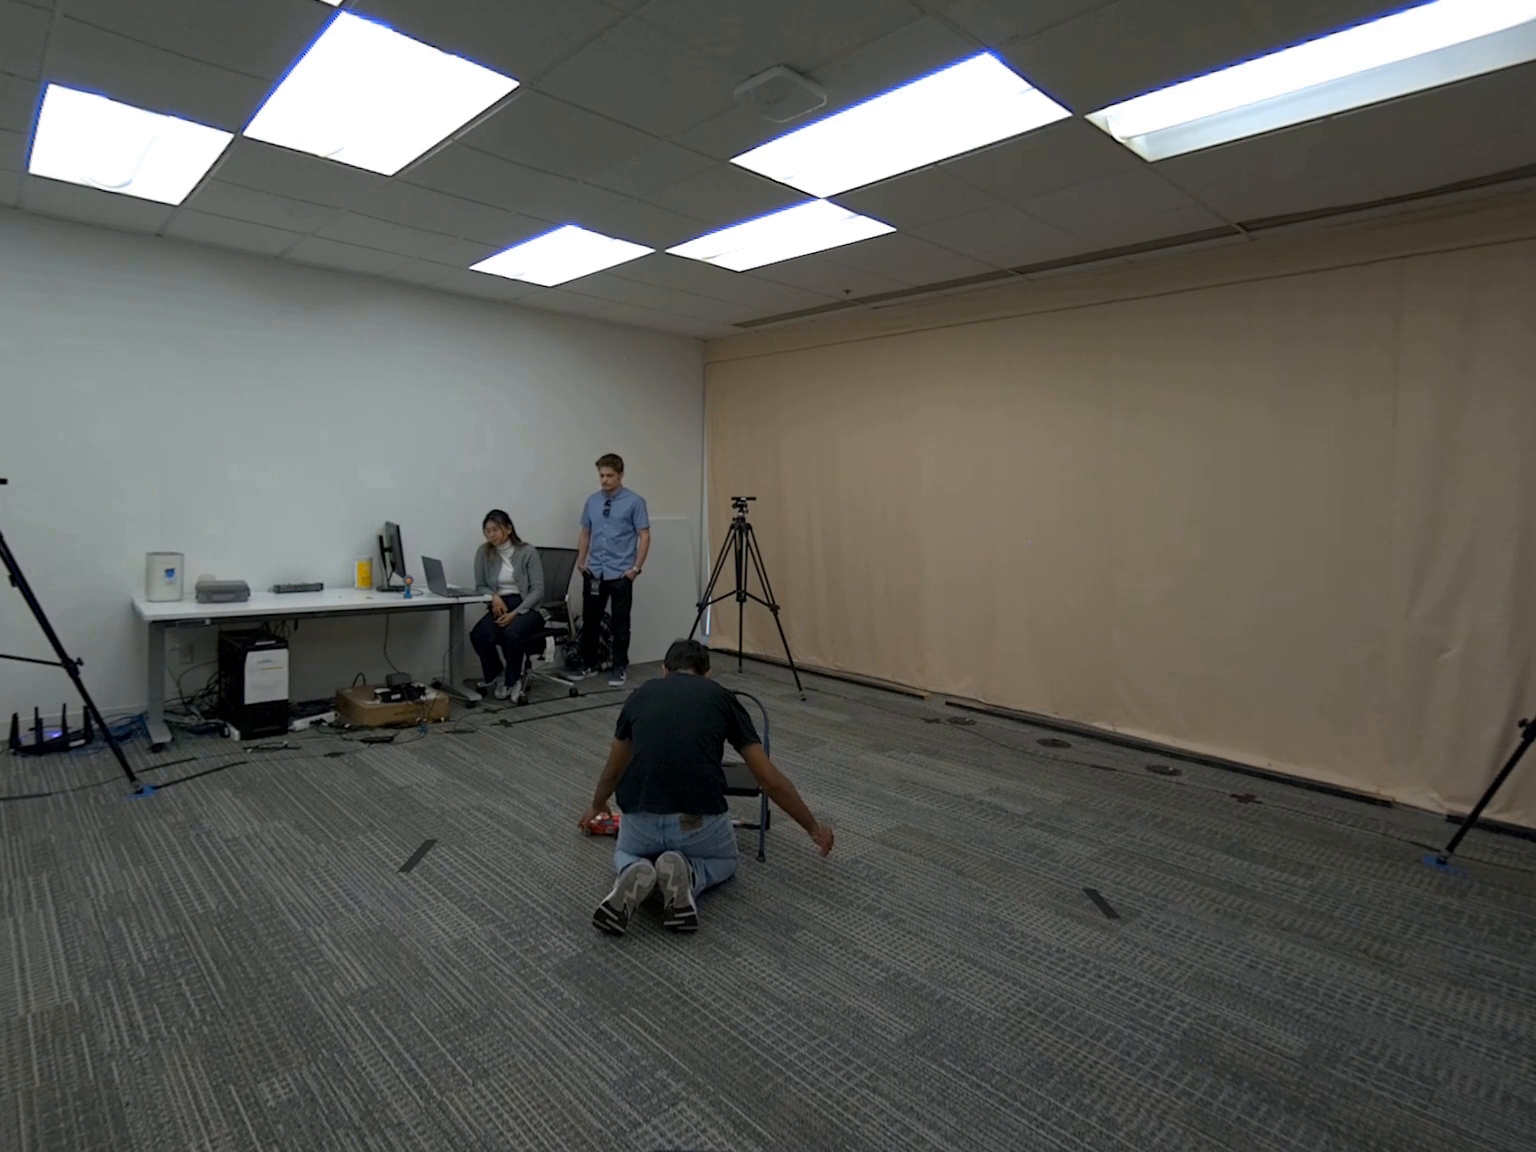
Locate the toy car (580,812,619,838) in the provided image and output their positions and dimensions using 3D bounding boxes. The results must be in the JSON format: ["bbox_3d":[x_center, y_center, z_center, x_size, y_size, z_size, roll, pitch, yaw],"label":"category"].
[{"bbox_3d":[-0.641,1.024,3.479,0.256,0.083,0.130,-9,4,7],"label":"toy car"}]
